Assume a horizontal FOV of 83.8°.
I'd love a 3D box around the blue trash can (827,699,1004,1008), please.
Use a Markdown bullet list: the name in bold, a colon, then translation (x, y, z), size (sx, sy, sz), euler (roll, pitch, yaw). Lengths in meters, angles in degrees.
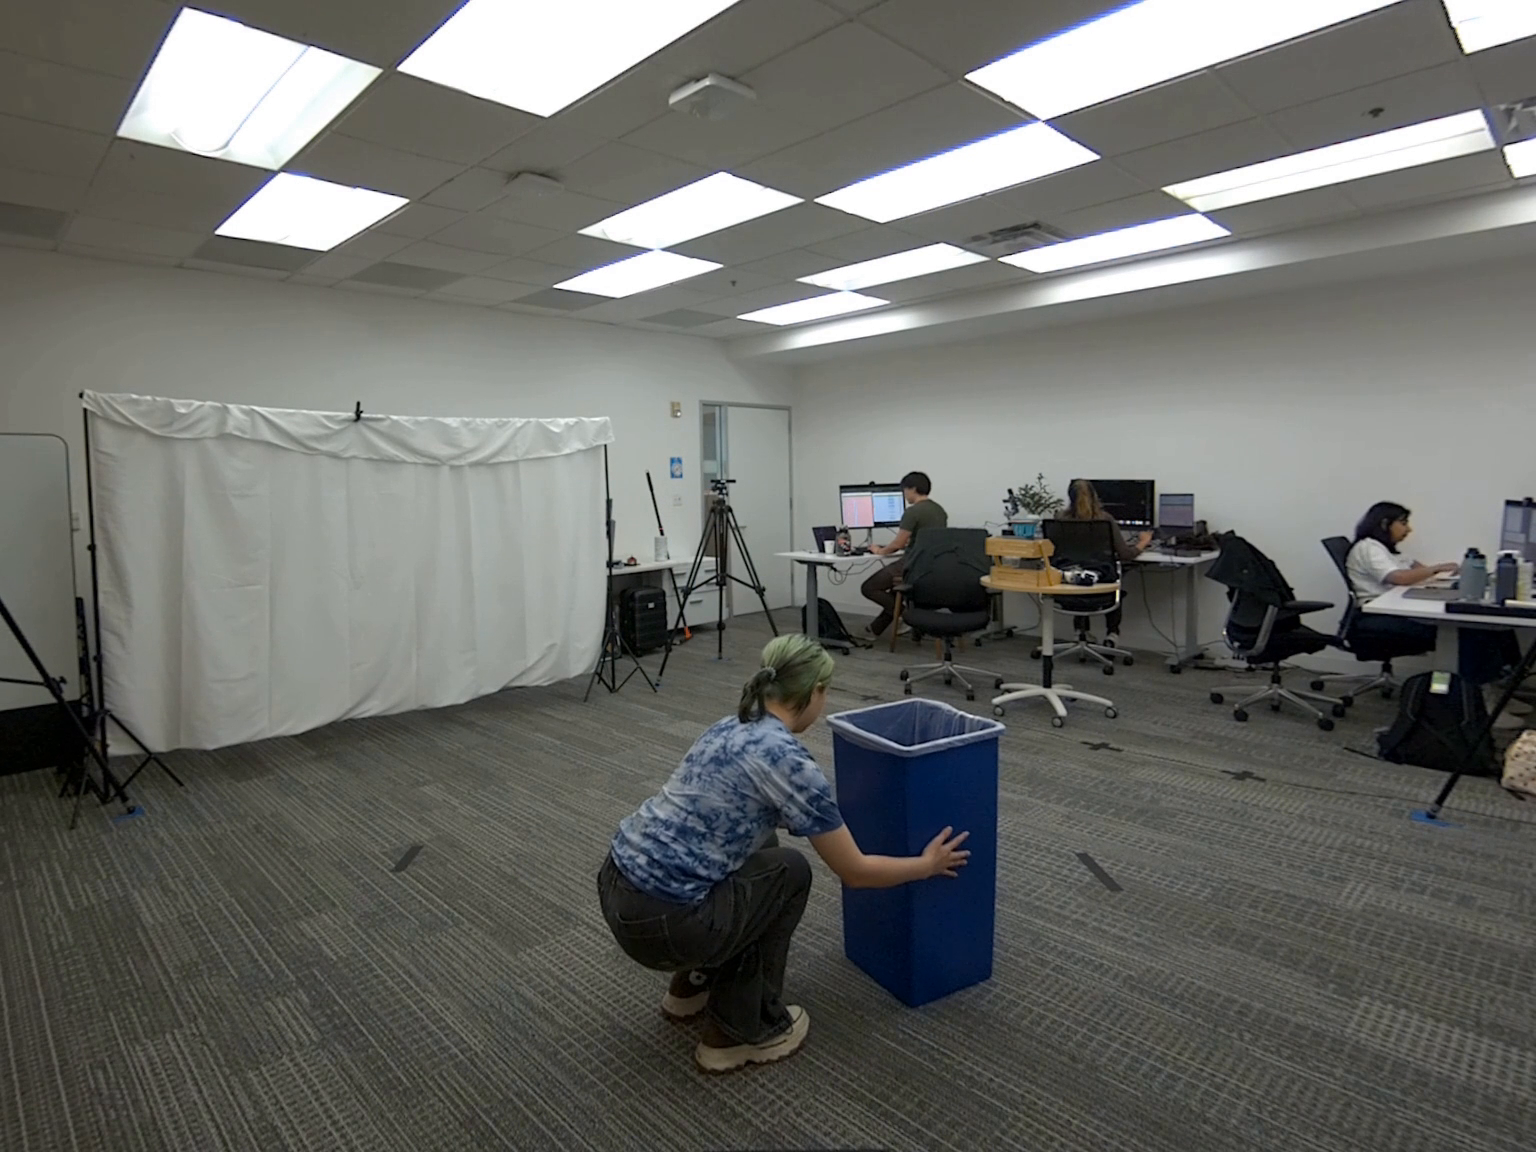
- **blue trash can**: translation (0.419, 0.762, 2.413), size (0.365, 0.711, 0.388), euler (-4, 5, -30)
